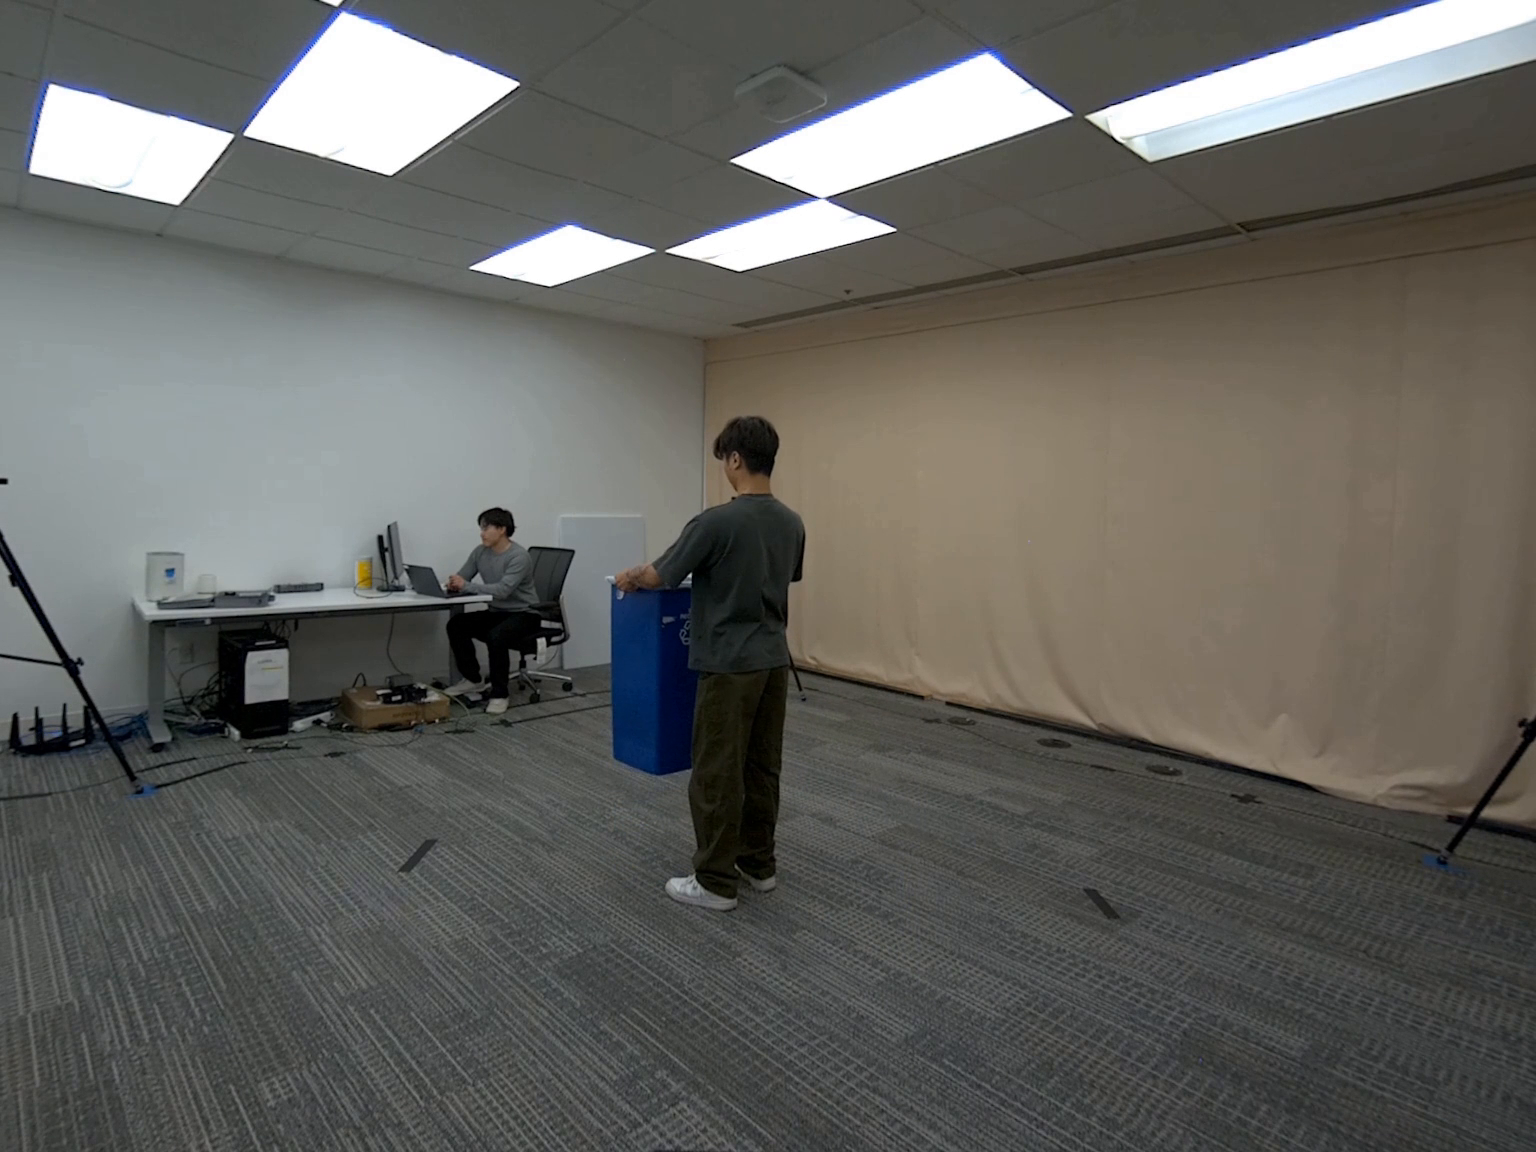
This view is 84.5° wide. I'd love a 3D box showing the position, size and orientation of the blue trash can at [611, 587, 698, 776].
[{"bbox_3d":[-0.412,0.371,3.280,0.369,0.712,0.383,0,3,-43],"label":"blue trash can"}]
